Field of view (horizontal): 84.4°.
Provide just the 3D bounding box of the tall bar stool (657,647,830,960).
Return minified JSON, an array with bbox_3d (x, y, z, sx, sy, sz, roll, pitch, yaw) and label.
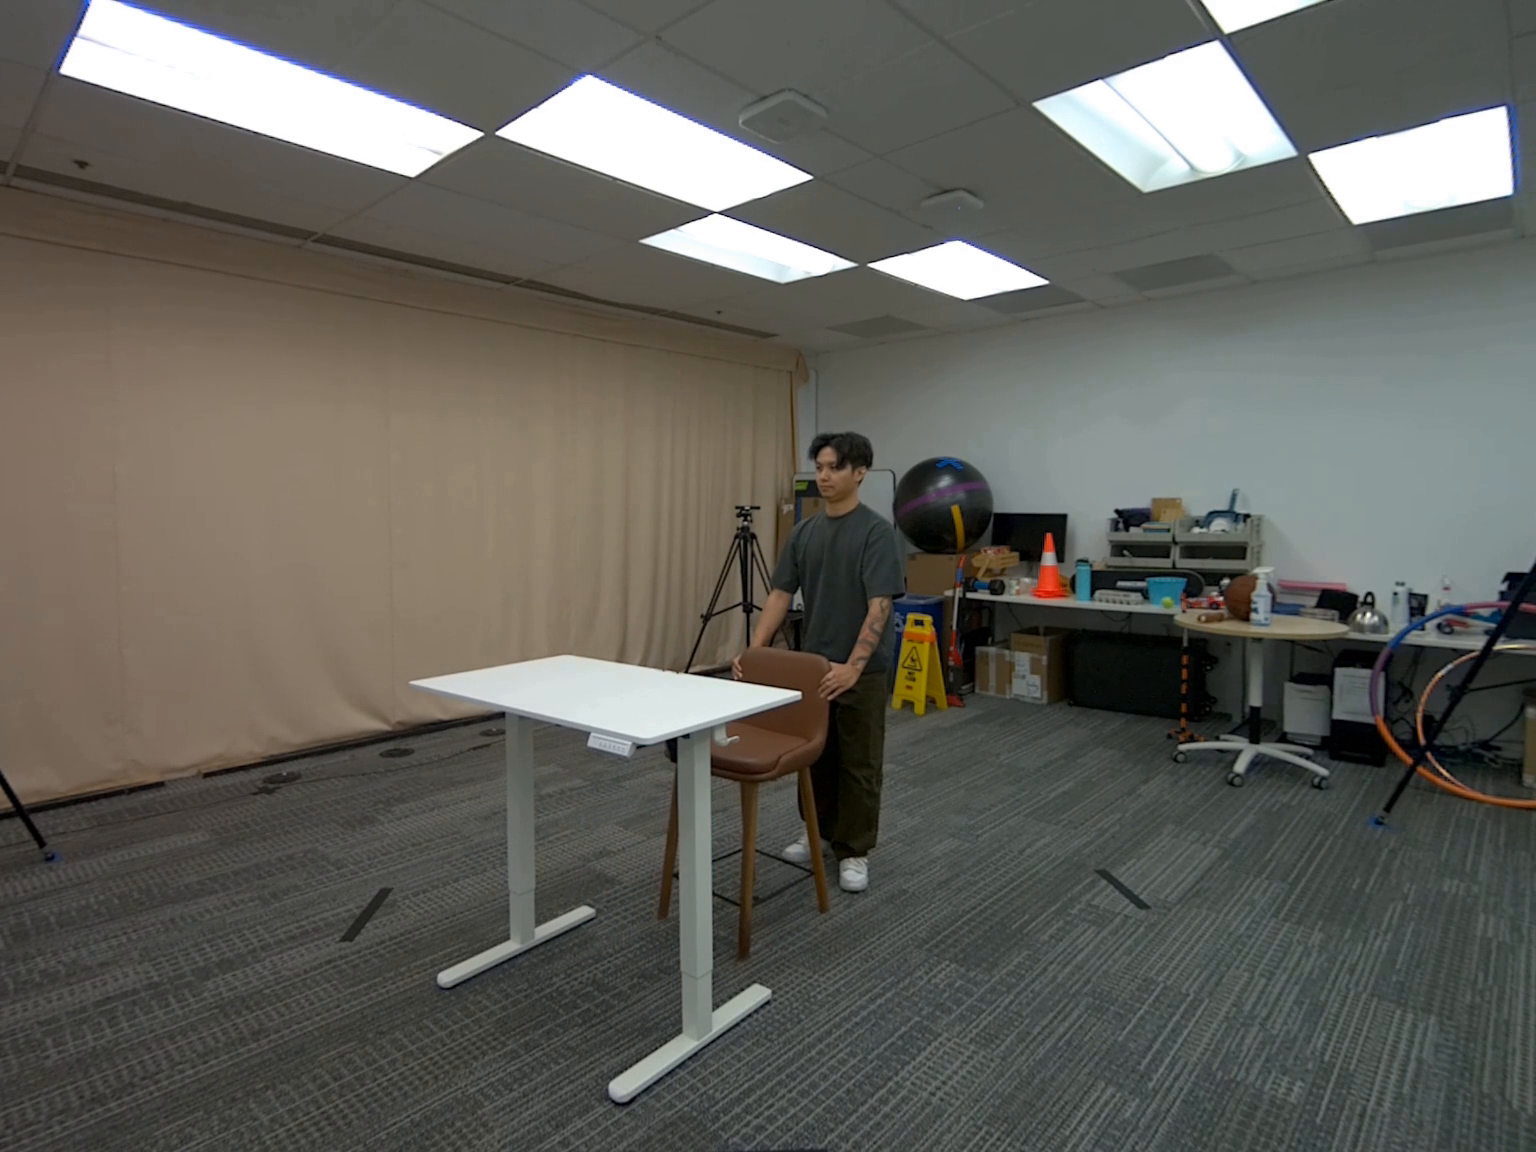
[{"bbox_3d":[-0.063,0.715,2.854,0.472,0.889,0.453,3,2,44],"label":"tall bar stool"}]
